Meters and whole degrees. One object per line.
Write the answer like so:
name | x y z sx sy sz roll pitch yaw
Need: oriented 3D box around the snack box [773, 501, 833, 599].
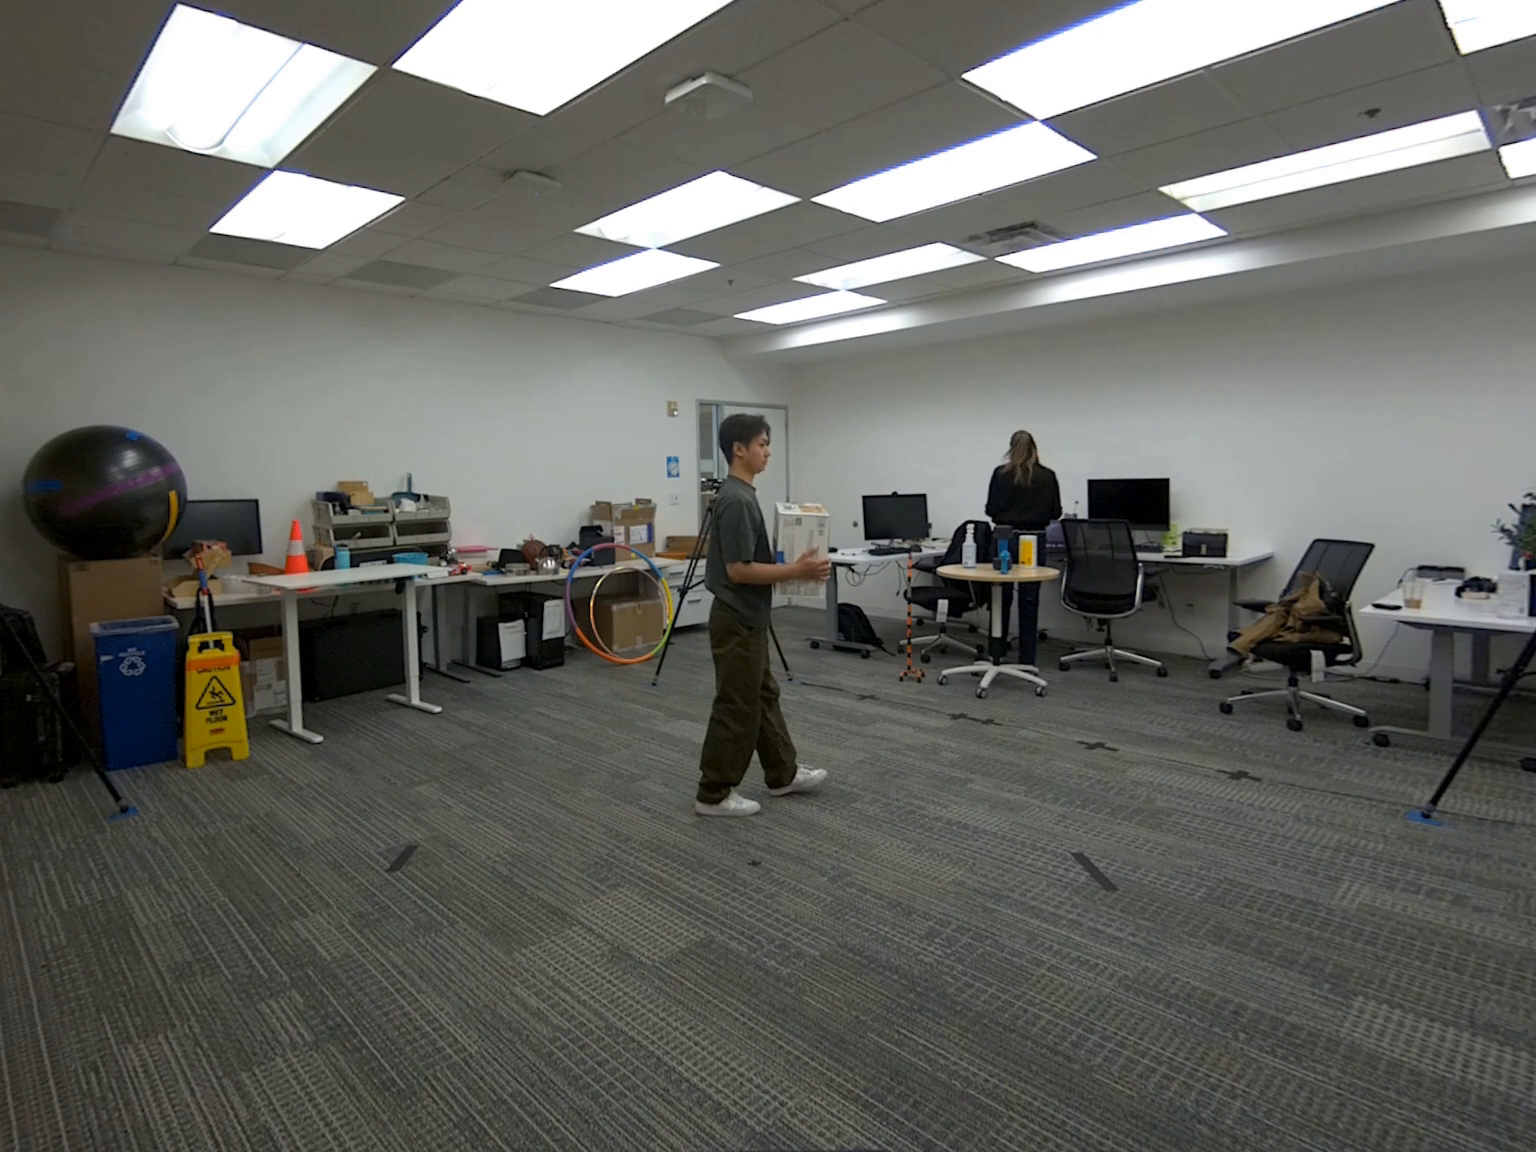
snack box | 0.132 -0.121 3.570 0.206 0.338 0.408 2 9 -2
